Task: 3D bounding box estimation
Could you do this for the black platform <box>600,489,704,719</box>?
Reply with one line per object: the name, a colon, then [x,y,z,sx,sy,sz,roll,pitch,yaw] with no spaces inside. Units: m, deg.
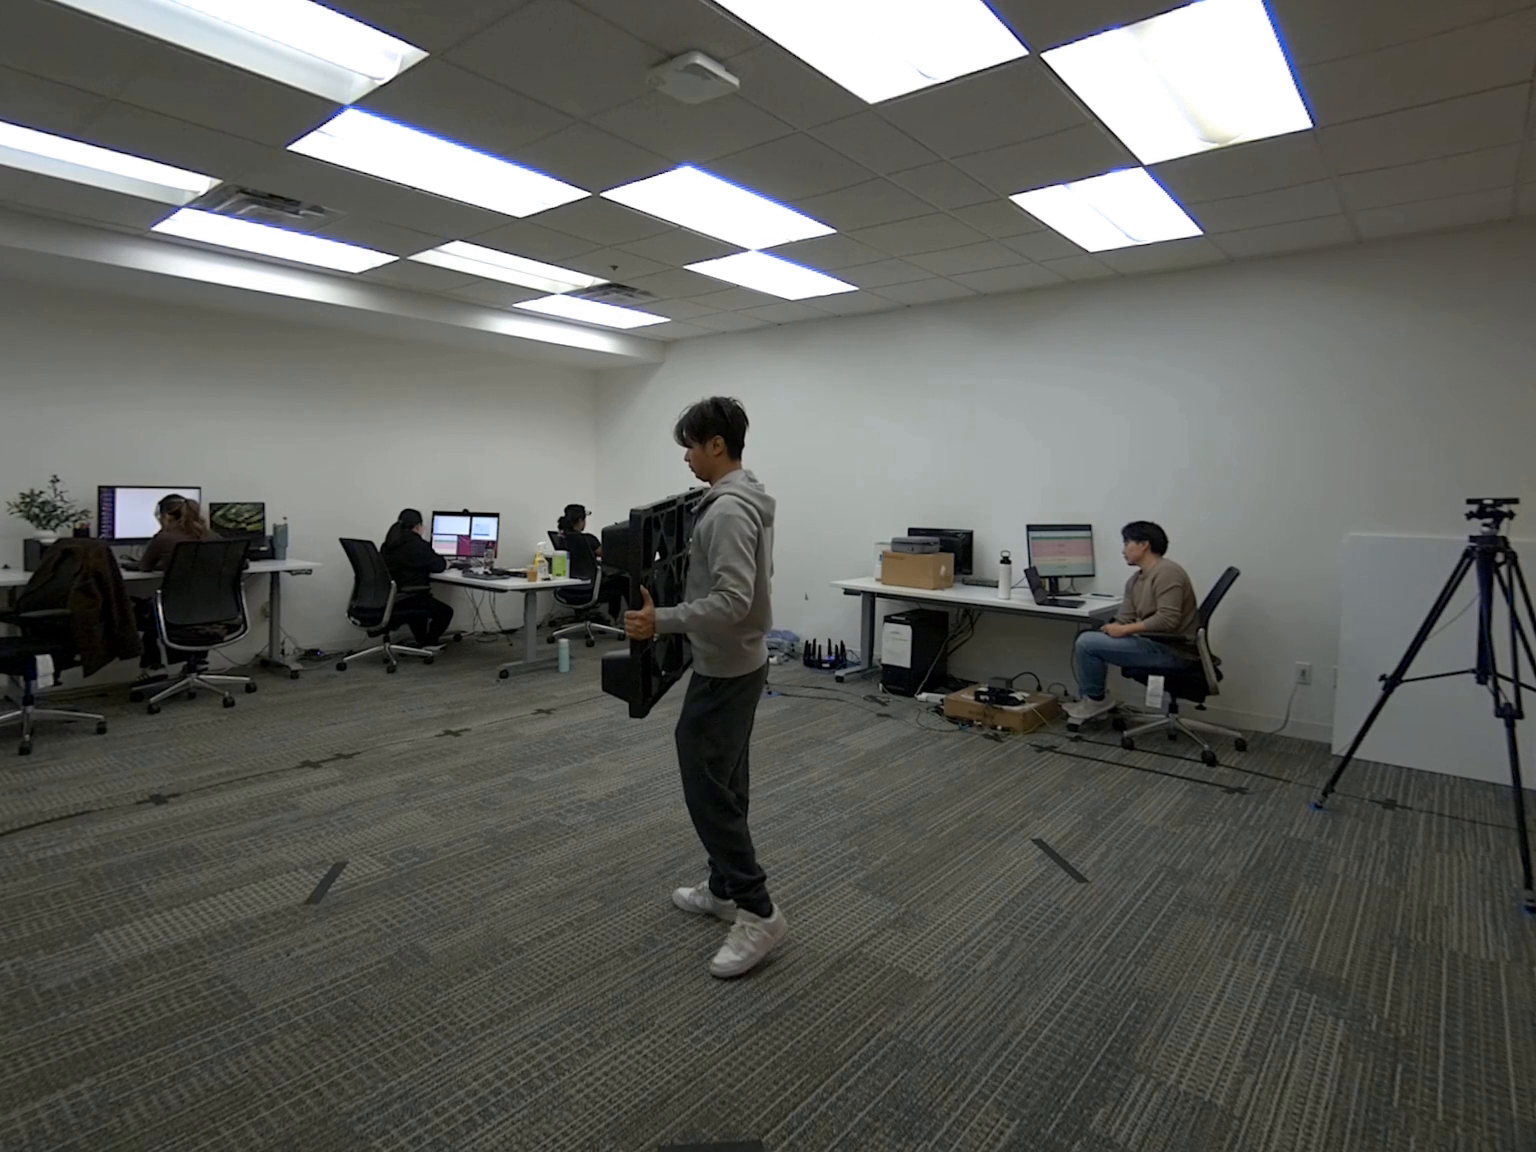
black platform: [-0.350,0.042,2.745,0.145,0.600,0.802,4,10,9]
